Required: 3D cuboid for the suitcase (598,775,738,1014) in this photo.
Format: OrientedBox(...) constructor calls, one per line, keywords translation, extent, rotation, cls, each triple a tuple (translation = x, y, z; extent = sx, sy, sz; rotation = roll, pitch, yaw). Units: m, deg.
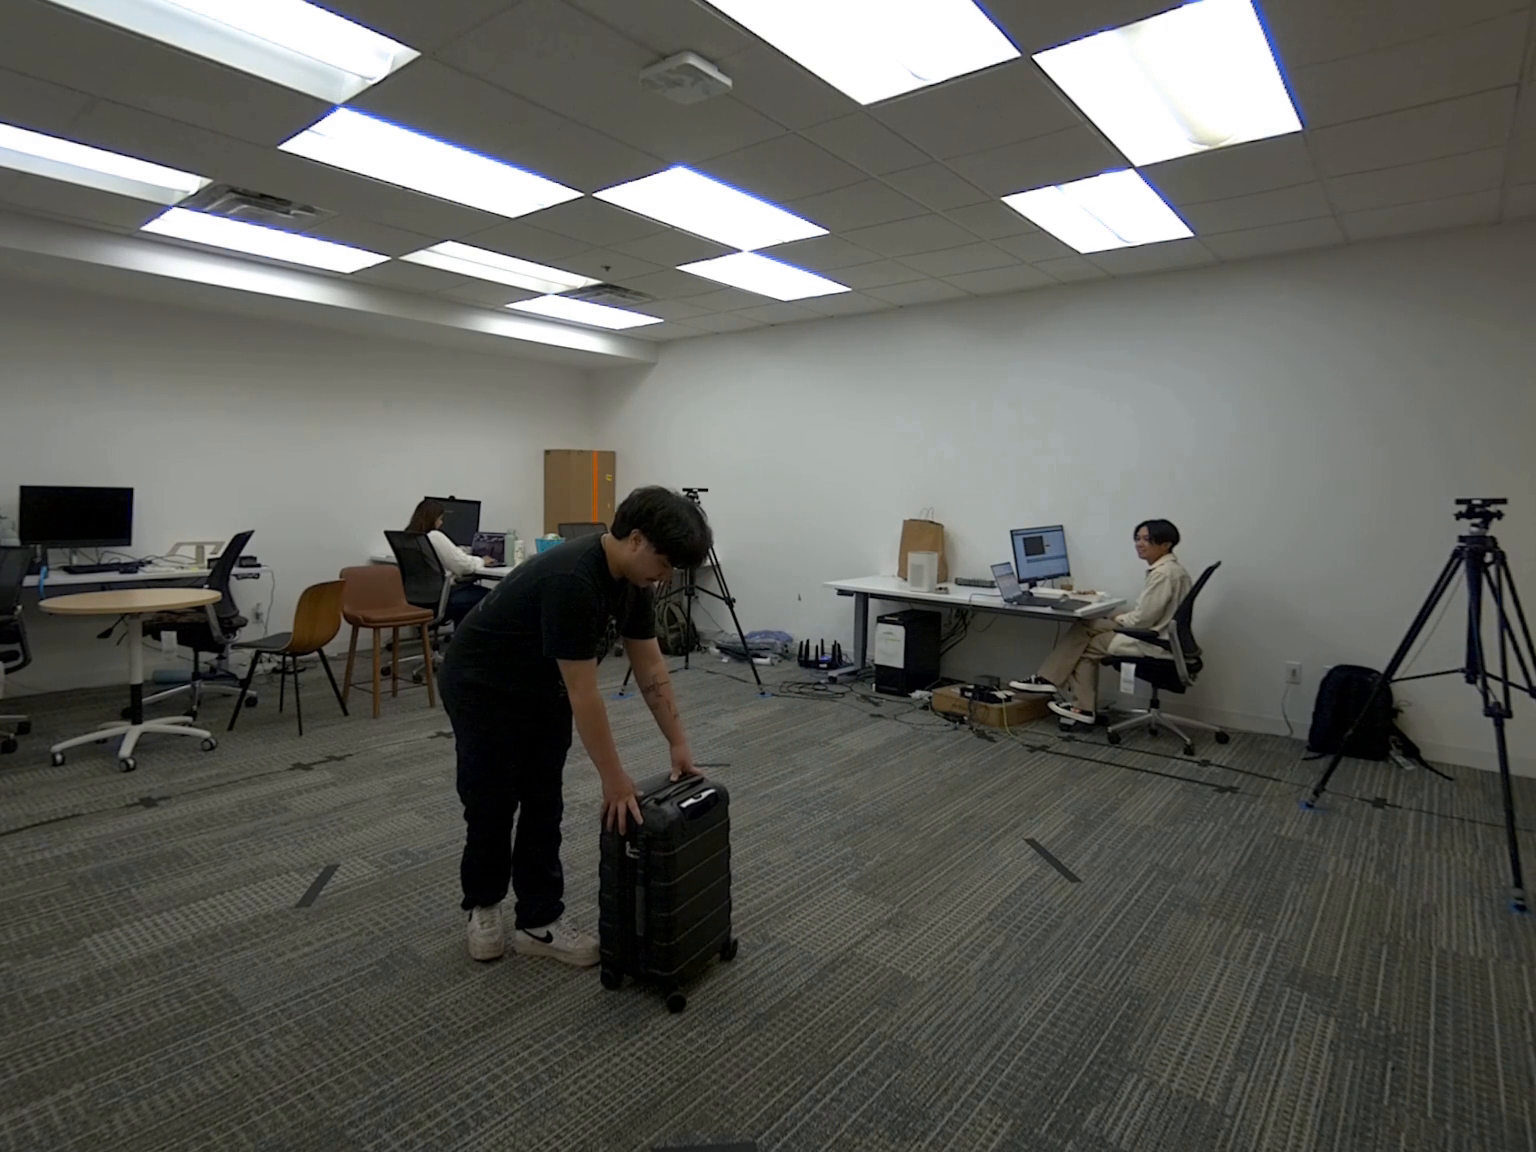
OrientedBox(translation=(-0.296, 0.864, 2.426), extent=(0.256, 0.547, 0.366), rotation=(1, 5, 31), cls="suitcase")
